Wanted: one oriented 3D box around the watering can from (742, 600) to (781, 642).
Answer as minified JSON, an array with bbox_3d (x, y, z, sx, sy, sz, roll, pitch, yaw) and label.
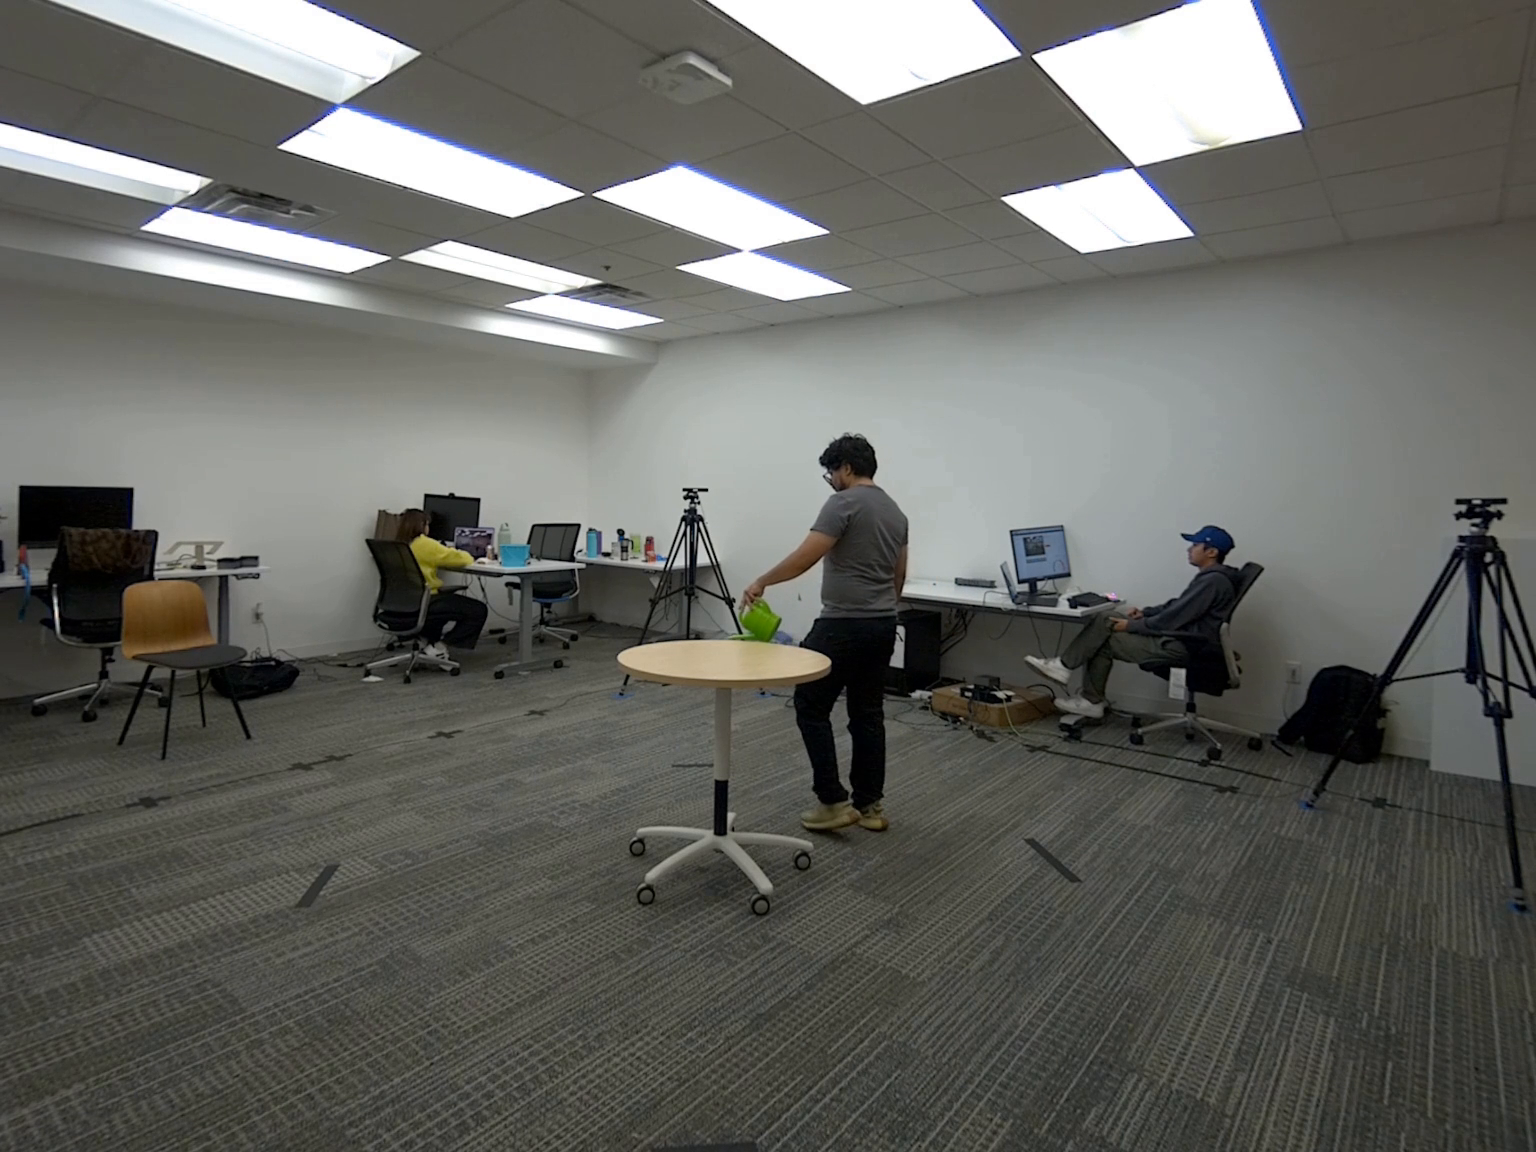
[{"bbox_3d":[-0.070,0.215,3.645,0.181,0.274,0.097,34,37,15],"label":"watering can"}]
